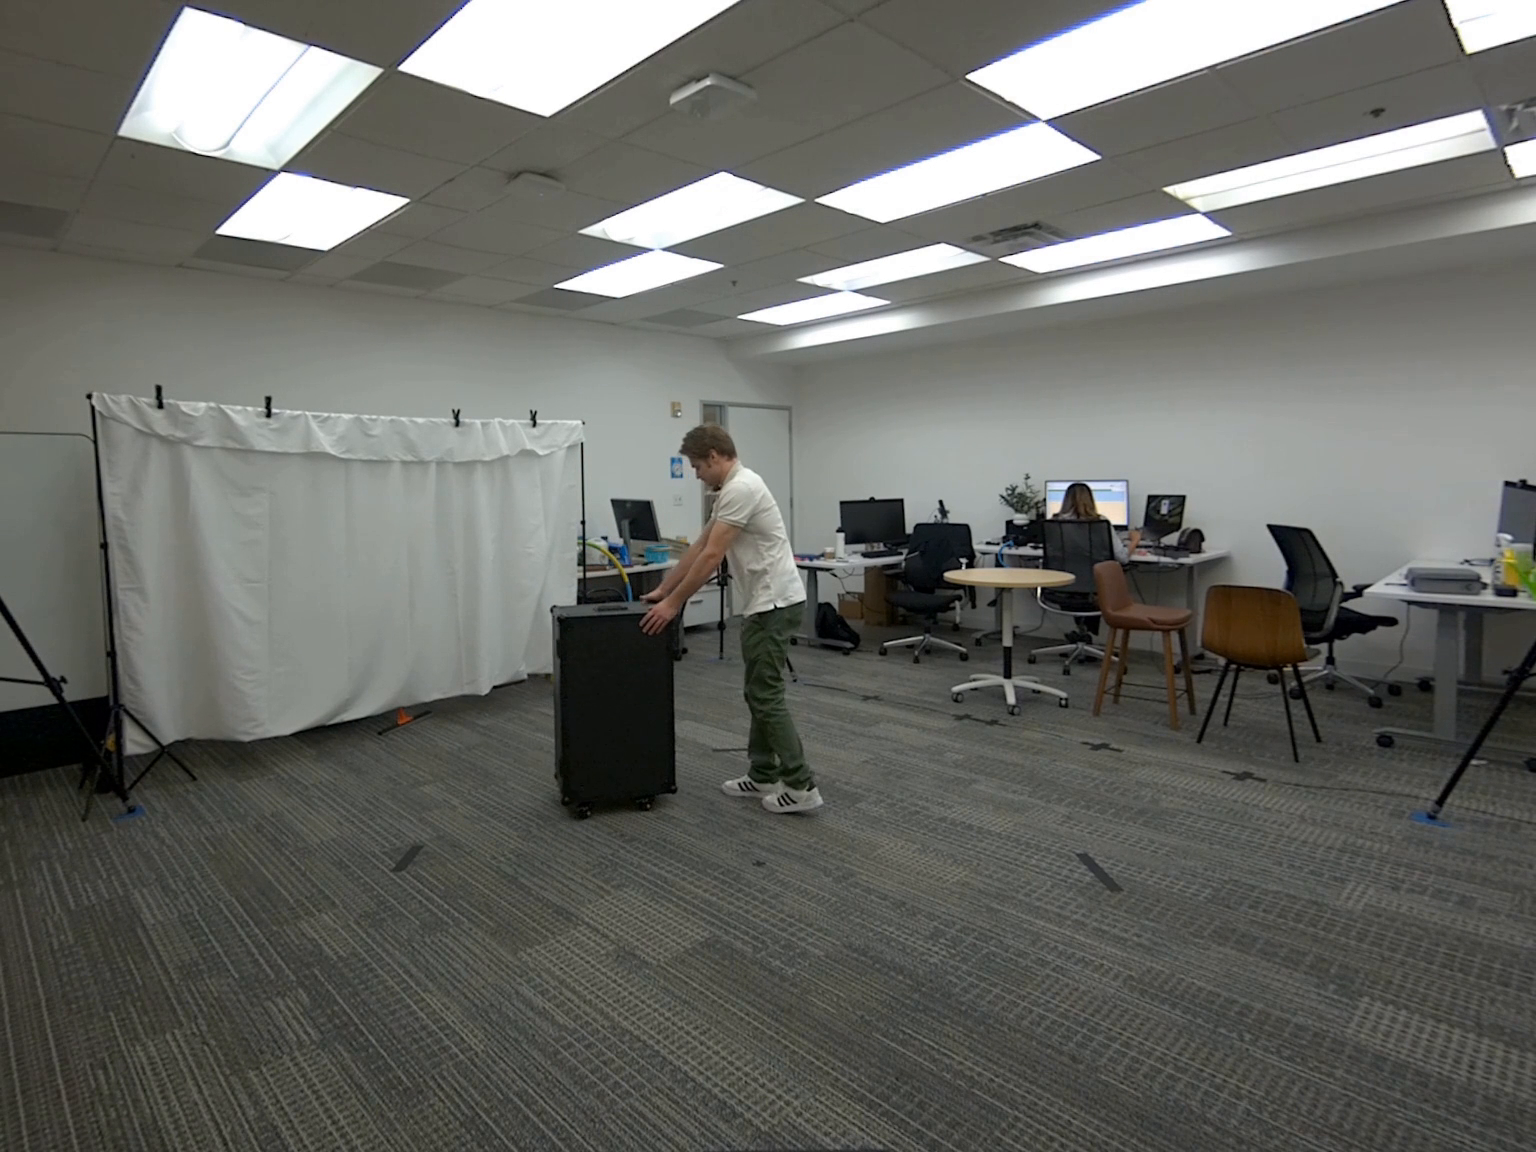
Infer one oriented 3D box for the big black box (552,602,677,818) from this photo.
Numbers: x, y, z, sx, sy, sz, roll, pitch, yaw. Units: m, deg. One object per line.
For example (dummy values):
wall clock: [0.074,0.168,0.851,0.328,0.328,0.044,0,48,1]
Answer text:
big black box: [-0.691,0.571,3.733,0.515,0.866,0.393,-2,3,-19]
